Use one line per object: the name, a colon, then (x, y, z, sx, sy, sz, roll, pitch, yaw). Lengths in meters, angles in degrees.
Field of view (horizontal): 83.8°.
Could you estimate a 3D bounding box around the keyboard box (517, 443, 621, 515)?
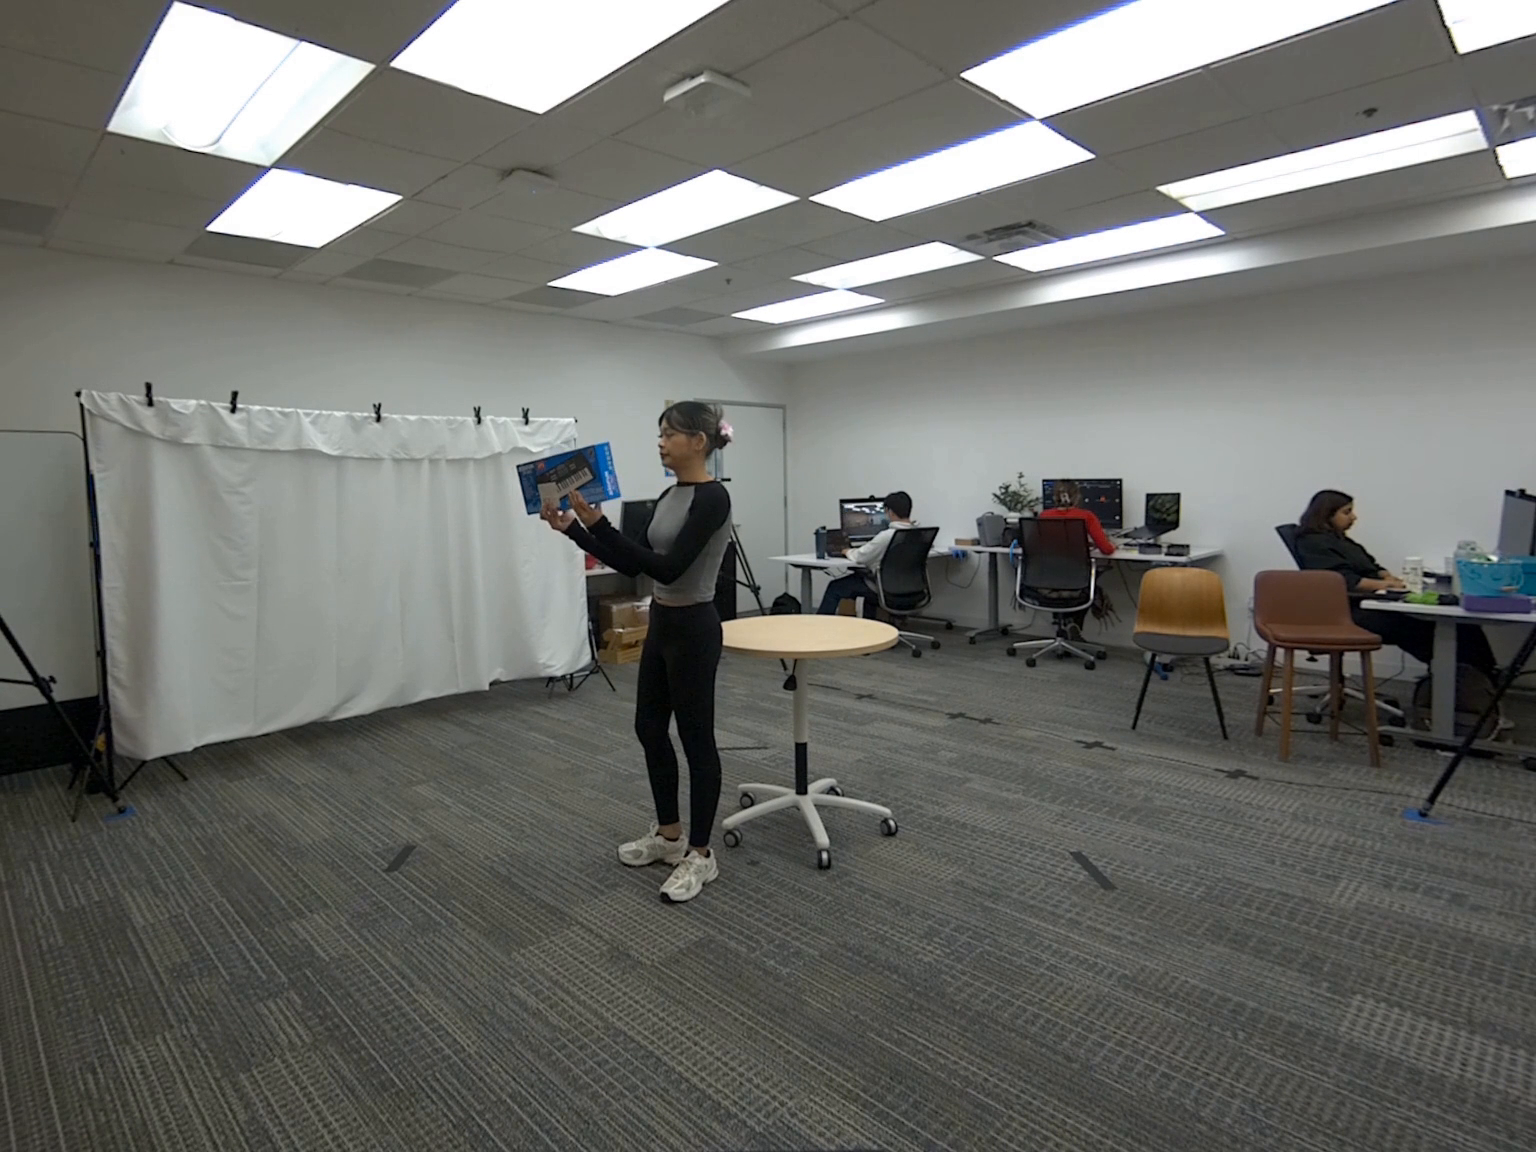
keyboard box: (-0.640, -0.304, 2.729, 0.448, 0.175, 0.058, -5, 9, 45)
